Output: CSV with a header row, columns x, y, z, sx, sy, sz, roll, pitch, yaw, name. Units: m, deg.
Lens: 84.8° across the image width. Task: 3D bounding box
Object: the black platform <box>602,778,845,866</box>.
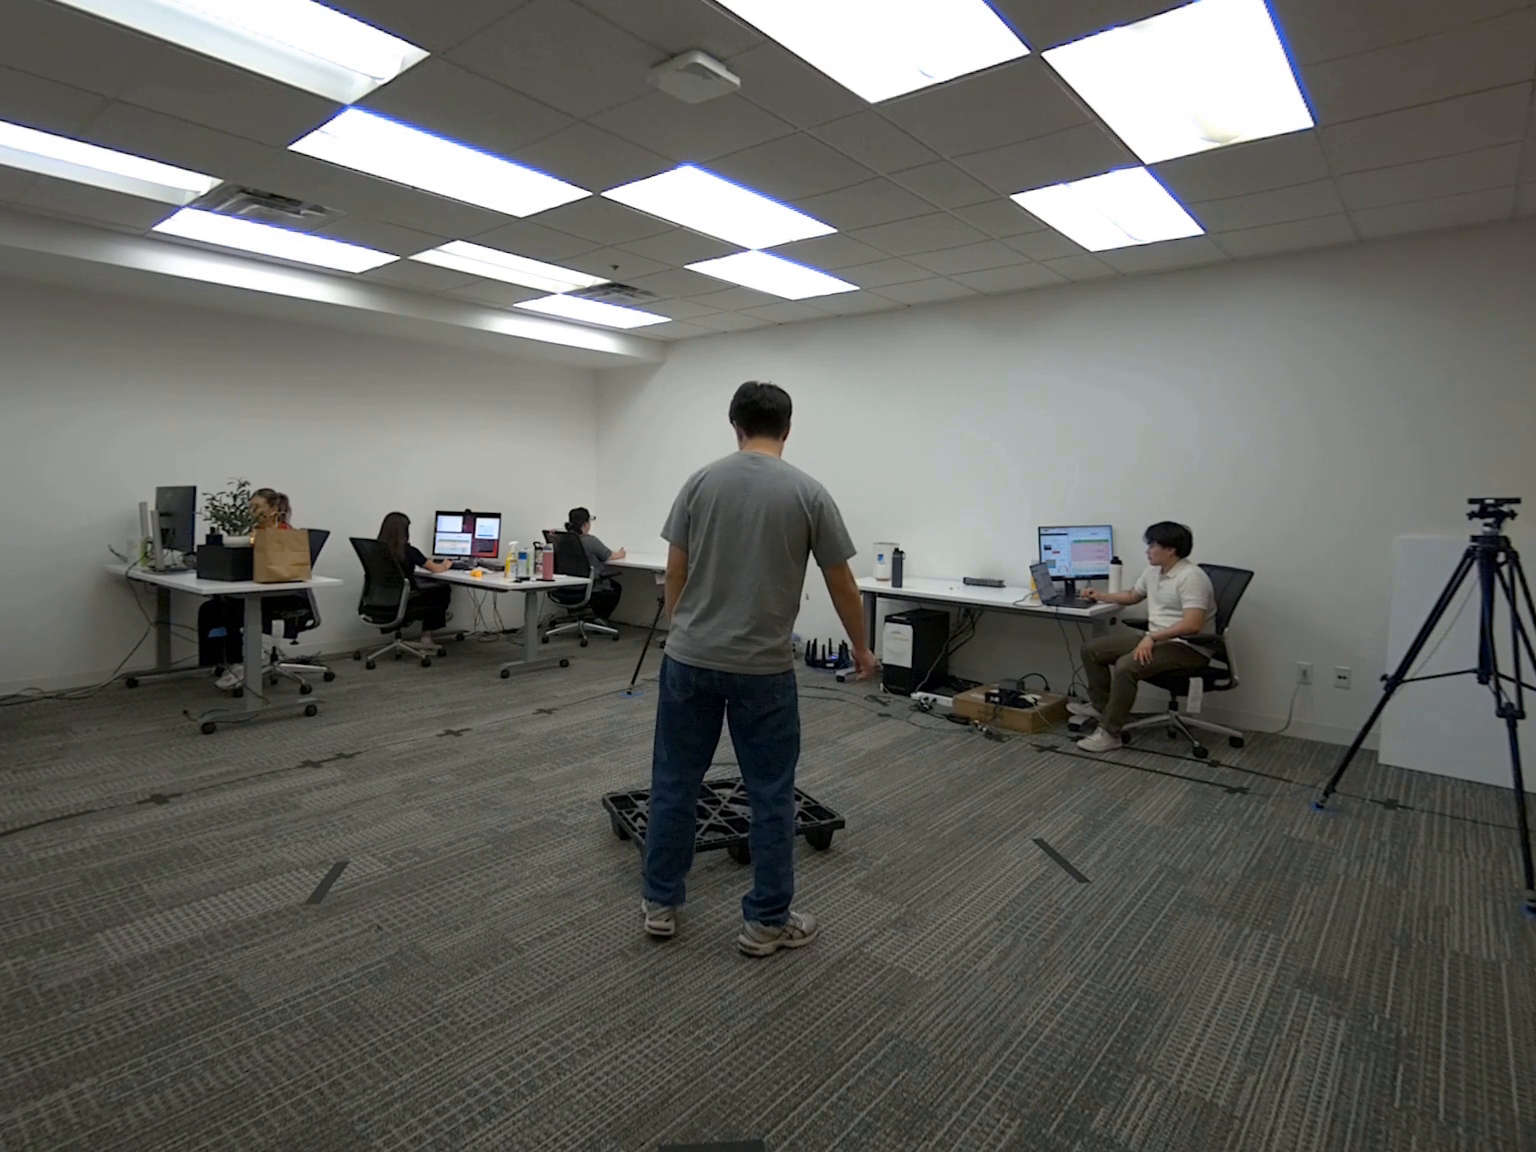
x,y,z,sx,sy,sz,roll,pitch,yaw,name
-0.195,0.973,3.359,0.786,0.143,0.622,-2,7,-25,black platform
